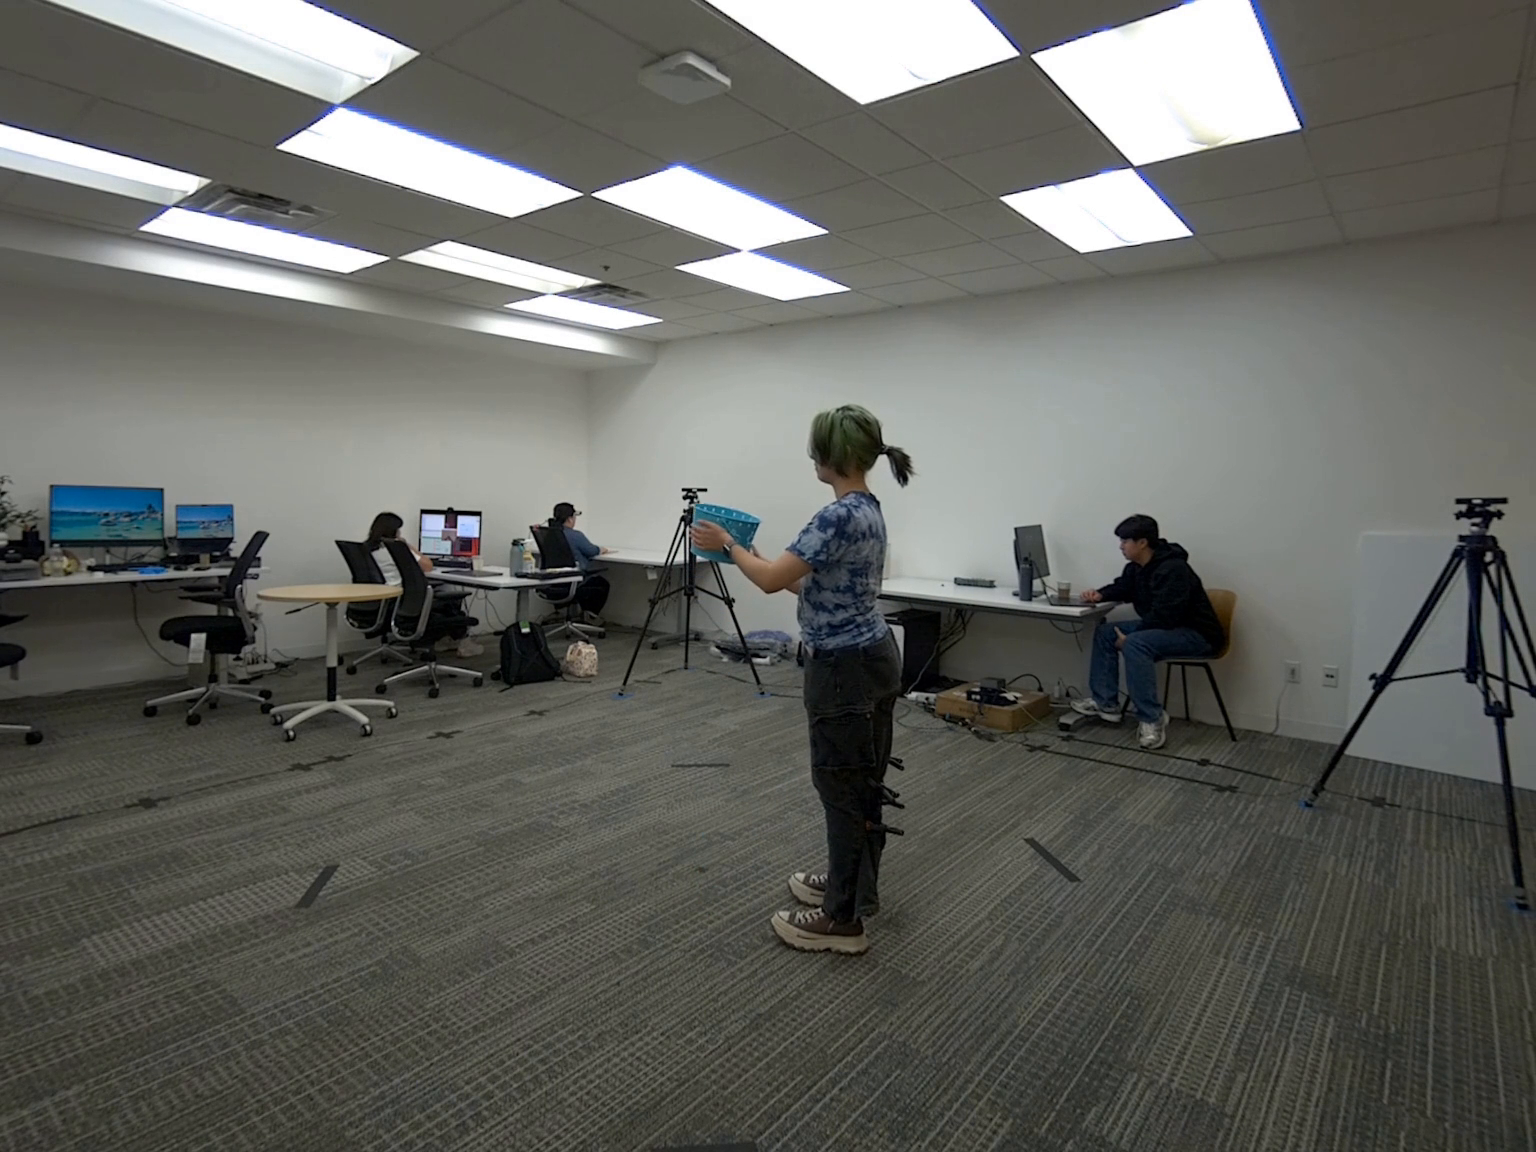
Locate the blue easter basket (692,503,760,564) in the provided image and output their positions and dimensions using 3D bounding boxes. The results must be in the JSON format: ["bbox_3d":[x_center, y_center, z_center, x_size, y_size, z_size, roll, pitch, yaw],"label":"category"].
[{"bbox_3d":[-0.144,-0.137,2.808,0.243,0.155,0.246,12,8,-3],"label":"blue easter basket"}]
